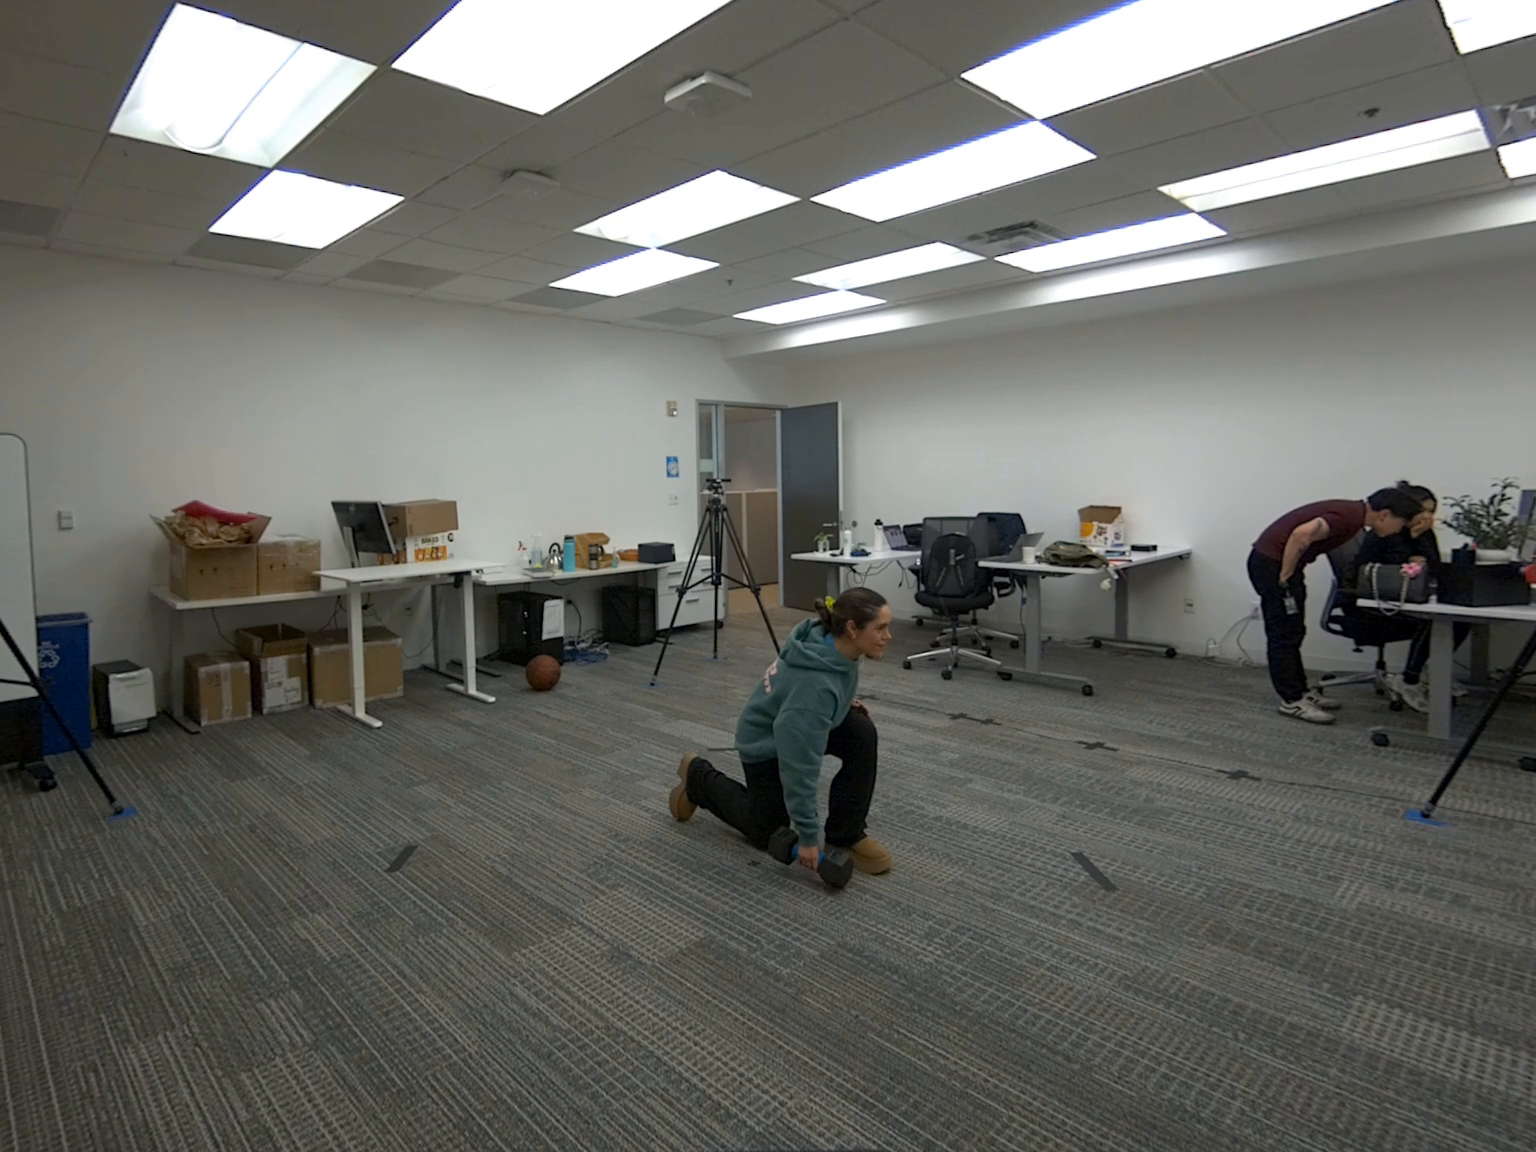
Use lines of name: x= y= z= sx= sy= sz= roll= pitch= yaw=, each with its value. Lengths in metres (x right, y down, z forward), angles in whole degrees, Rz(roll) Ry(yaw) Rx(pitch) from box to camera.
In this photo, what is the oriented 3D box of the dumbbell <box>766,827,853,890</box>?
dumbbell: x=0.146 y=0.971 z=2.951 sx=0.303 sy=0.109 sz=0.118 roll=11 pitch=-32 yaw=37
